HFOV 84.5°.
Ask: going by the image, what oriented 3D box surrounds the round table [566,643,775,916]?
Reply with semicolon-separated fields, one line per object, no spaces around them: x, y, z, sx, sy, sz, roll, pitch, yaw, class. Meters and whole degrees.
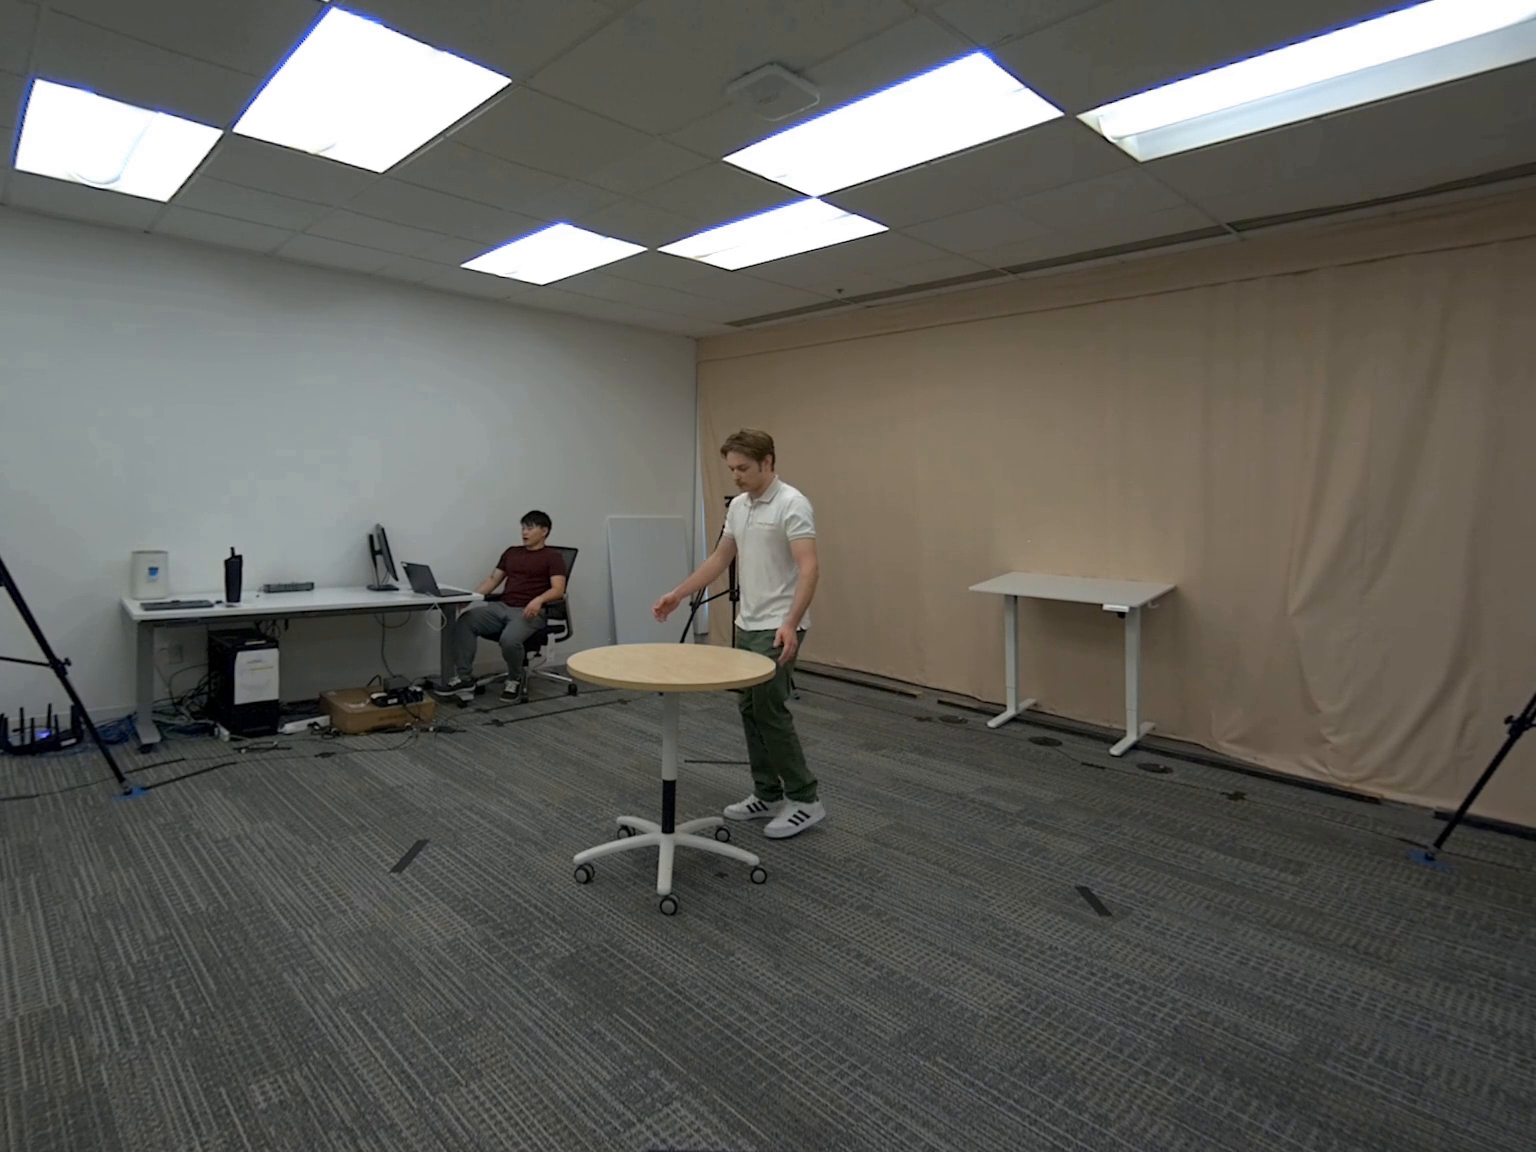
-0.370;0.710;3.120;0.763;0.792;0.766;2;4;-1;round table
